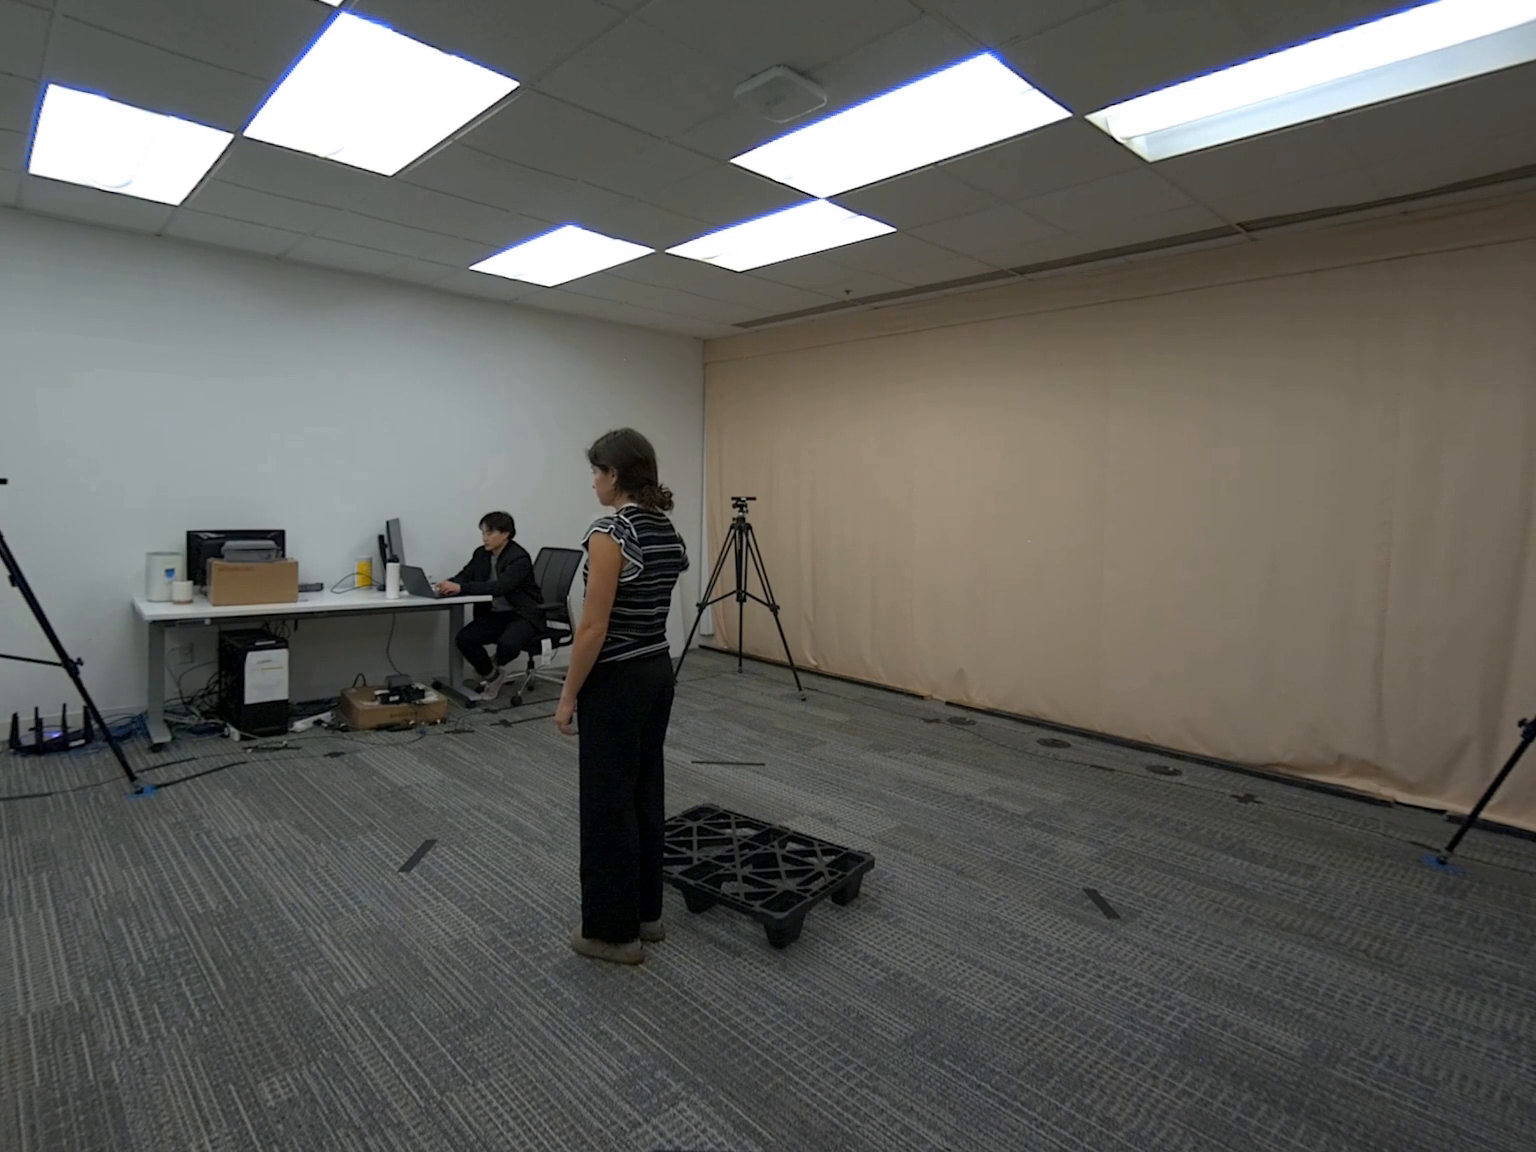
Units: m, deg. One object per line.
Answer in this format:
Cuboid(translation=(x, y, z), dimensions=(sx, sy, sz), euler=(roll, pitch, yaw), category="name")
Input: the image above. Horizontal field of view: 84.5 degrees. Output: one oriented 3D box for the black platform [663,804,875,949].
Cuboid(translation=(-0.118, 1.050, 3.001), dimensions=(0.825, 0.143, 0.592), euler=(5, 7, 37), category="black platform")
